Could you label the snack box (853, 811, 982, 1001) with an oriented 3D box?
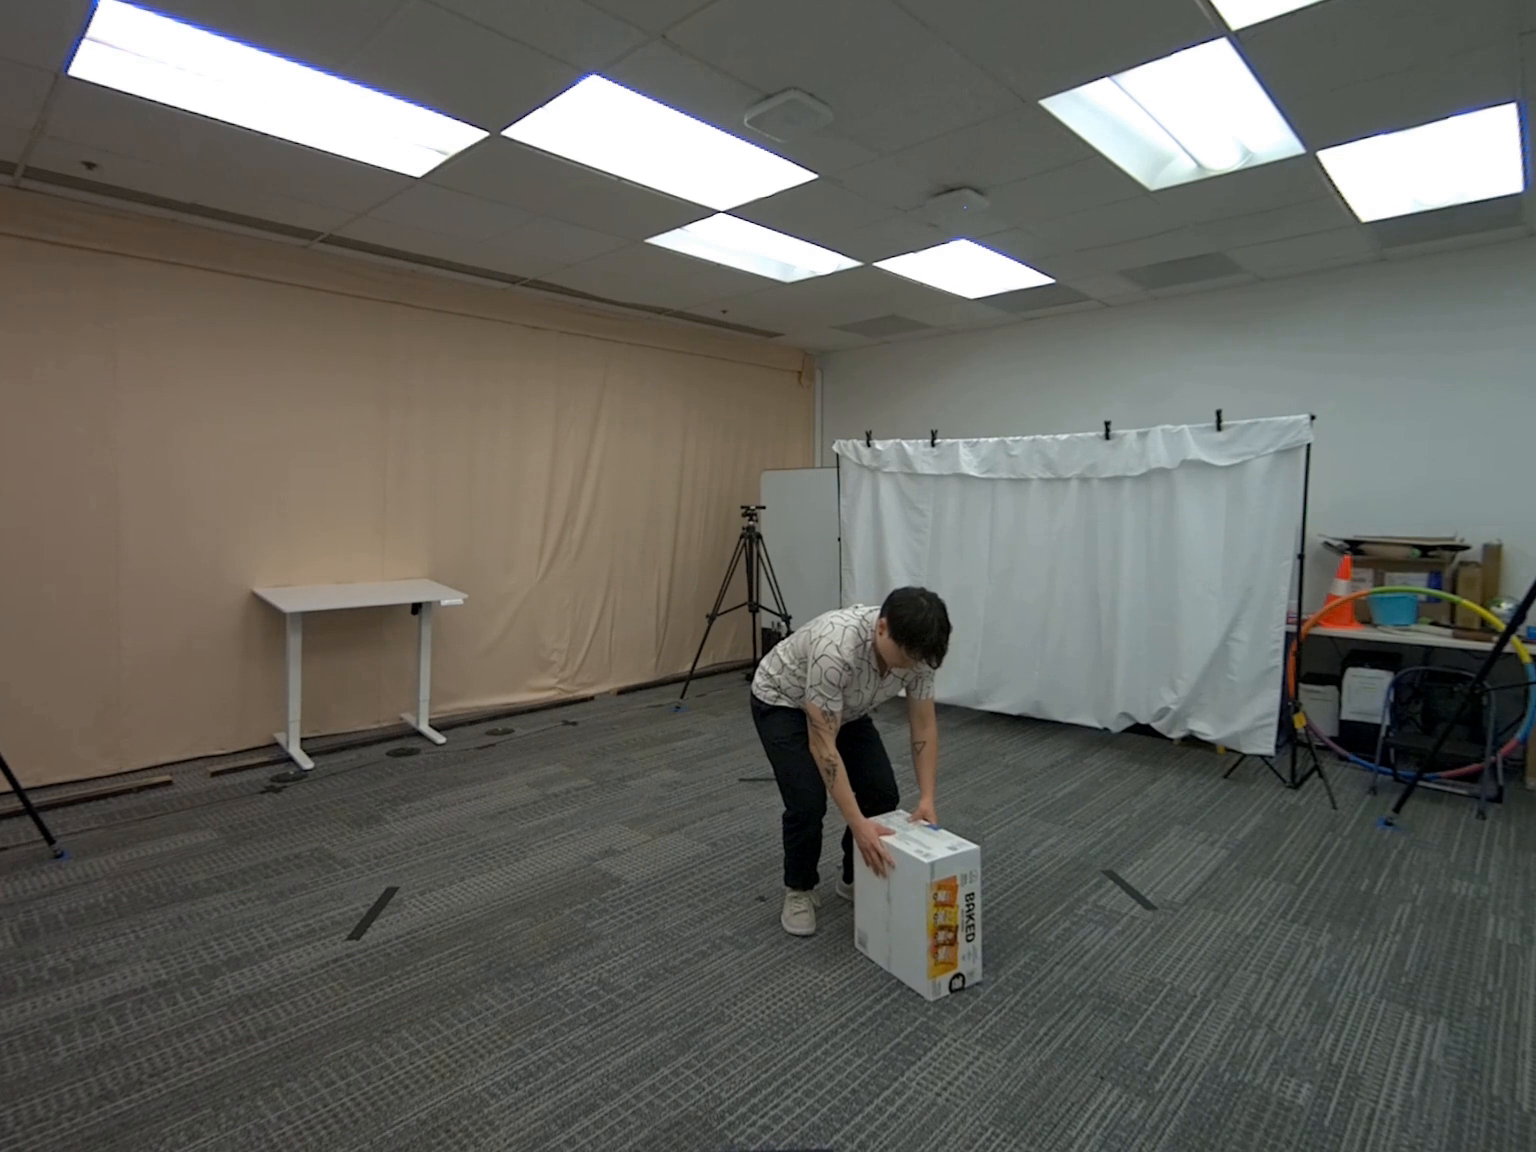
[{"bbox_3d":[0.453,0.974,2.532,0.200,0.404,0.350,-5,5,-31],"label":"snack box"}]
